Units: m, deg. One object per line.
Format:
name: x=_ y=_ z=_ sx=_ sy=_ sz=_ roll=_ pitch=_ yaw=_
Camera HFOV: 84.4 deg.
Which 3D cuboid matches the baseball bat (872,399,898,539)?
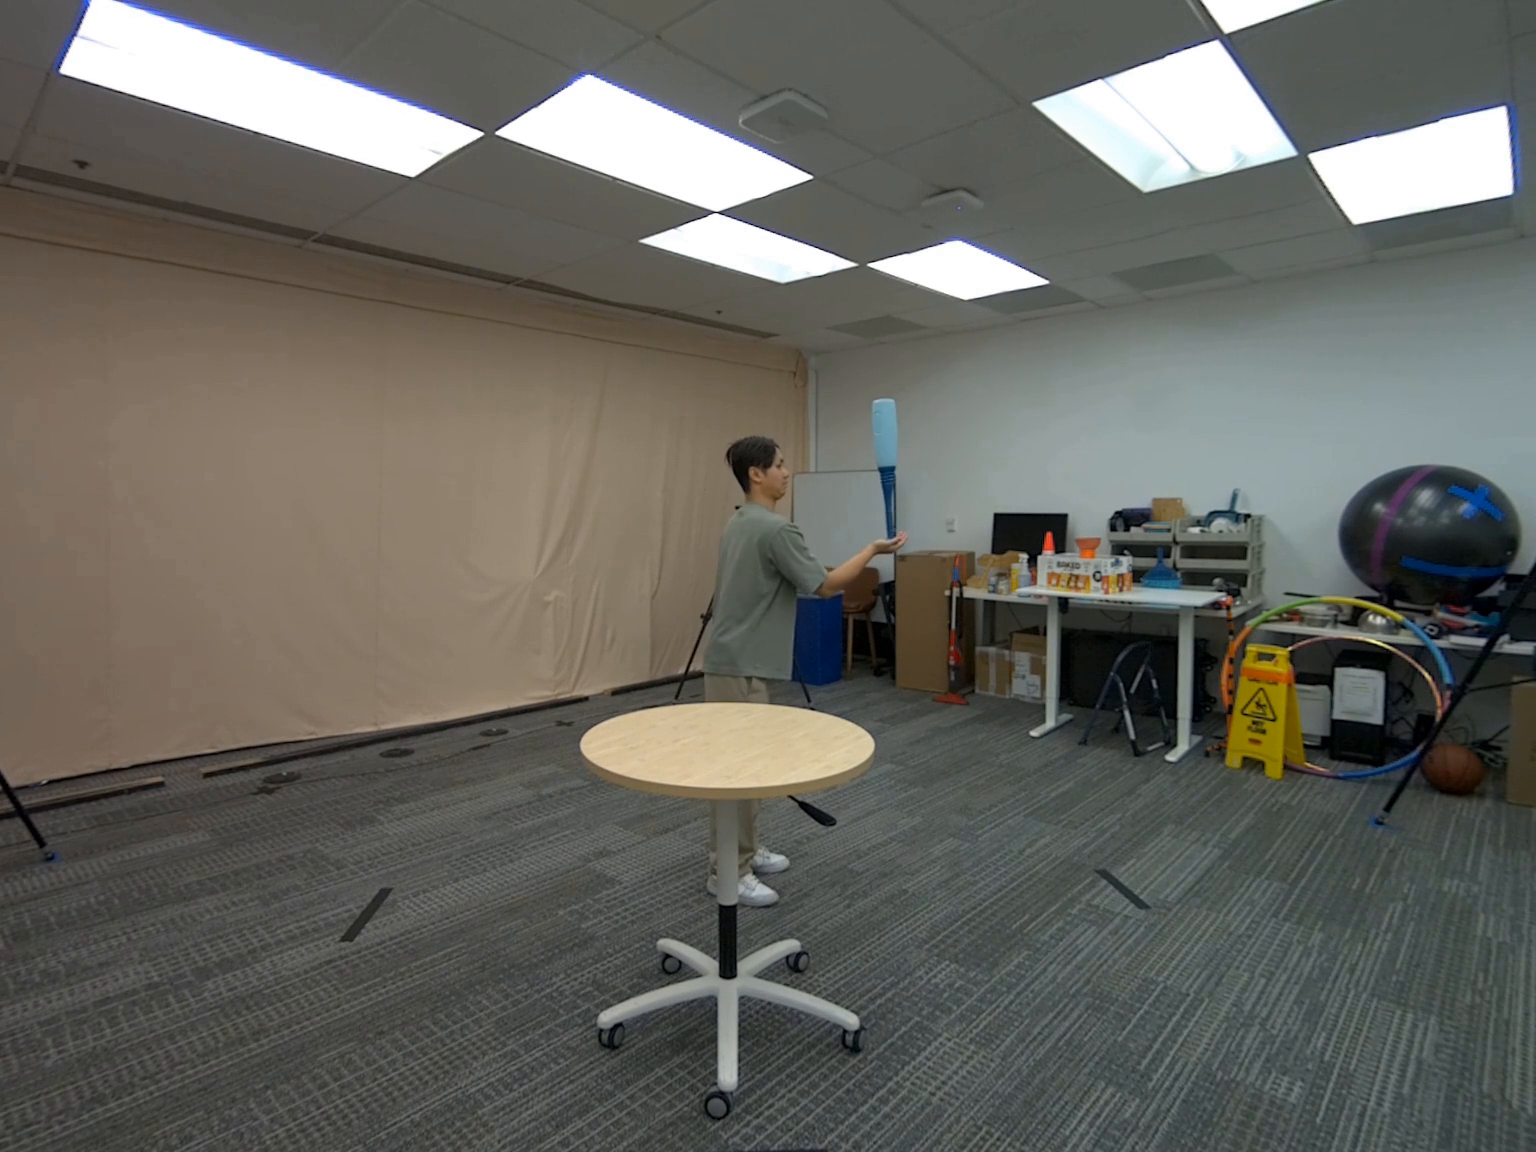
baseball bat: x=0.448 y=-0.387 z=3.141 sx=0.089 sy=0.542 sz=0.089 roll=-4 pitch=1 yaw=-2
